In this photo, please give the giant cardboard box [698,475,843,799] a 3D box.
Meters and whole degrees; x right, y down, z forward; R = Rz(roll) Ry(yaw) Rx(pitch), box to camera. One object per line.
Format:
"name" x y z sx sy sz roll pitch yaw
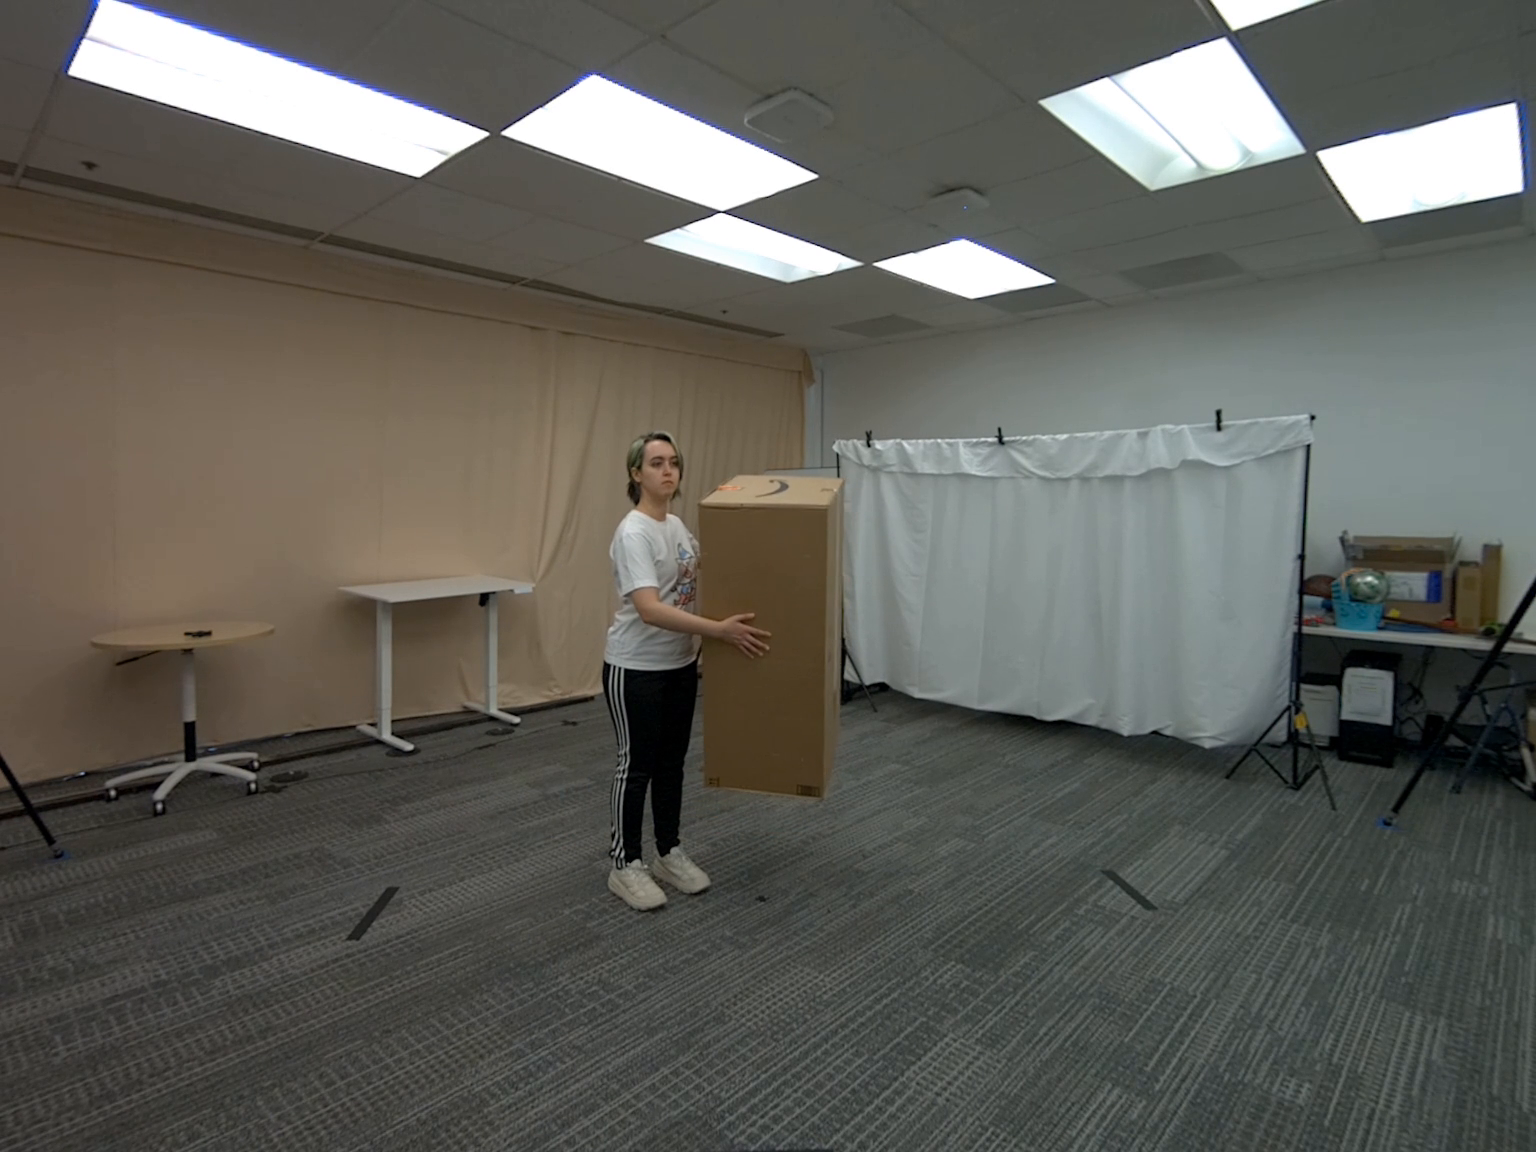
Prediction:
"giant cardboard box" 0.032 0.192 3.042 0.433 1.017 0.574 3 14 12
